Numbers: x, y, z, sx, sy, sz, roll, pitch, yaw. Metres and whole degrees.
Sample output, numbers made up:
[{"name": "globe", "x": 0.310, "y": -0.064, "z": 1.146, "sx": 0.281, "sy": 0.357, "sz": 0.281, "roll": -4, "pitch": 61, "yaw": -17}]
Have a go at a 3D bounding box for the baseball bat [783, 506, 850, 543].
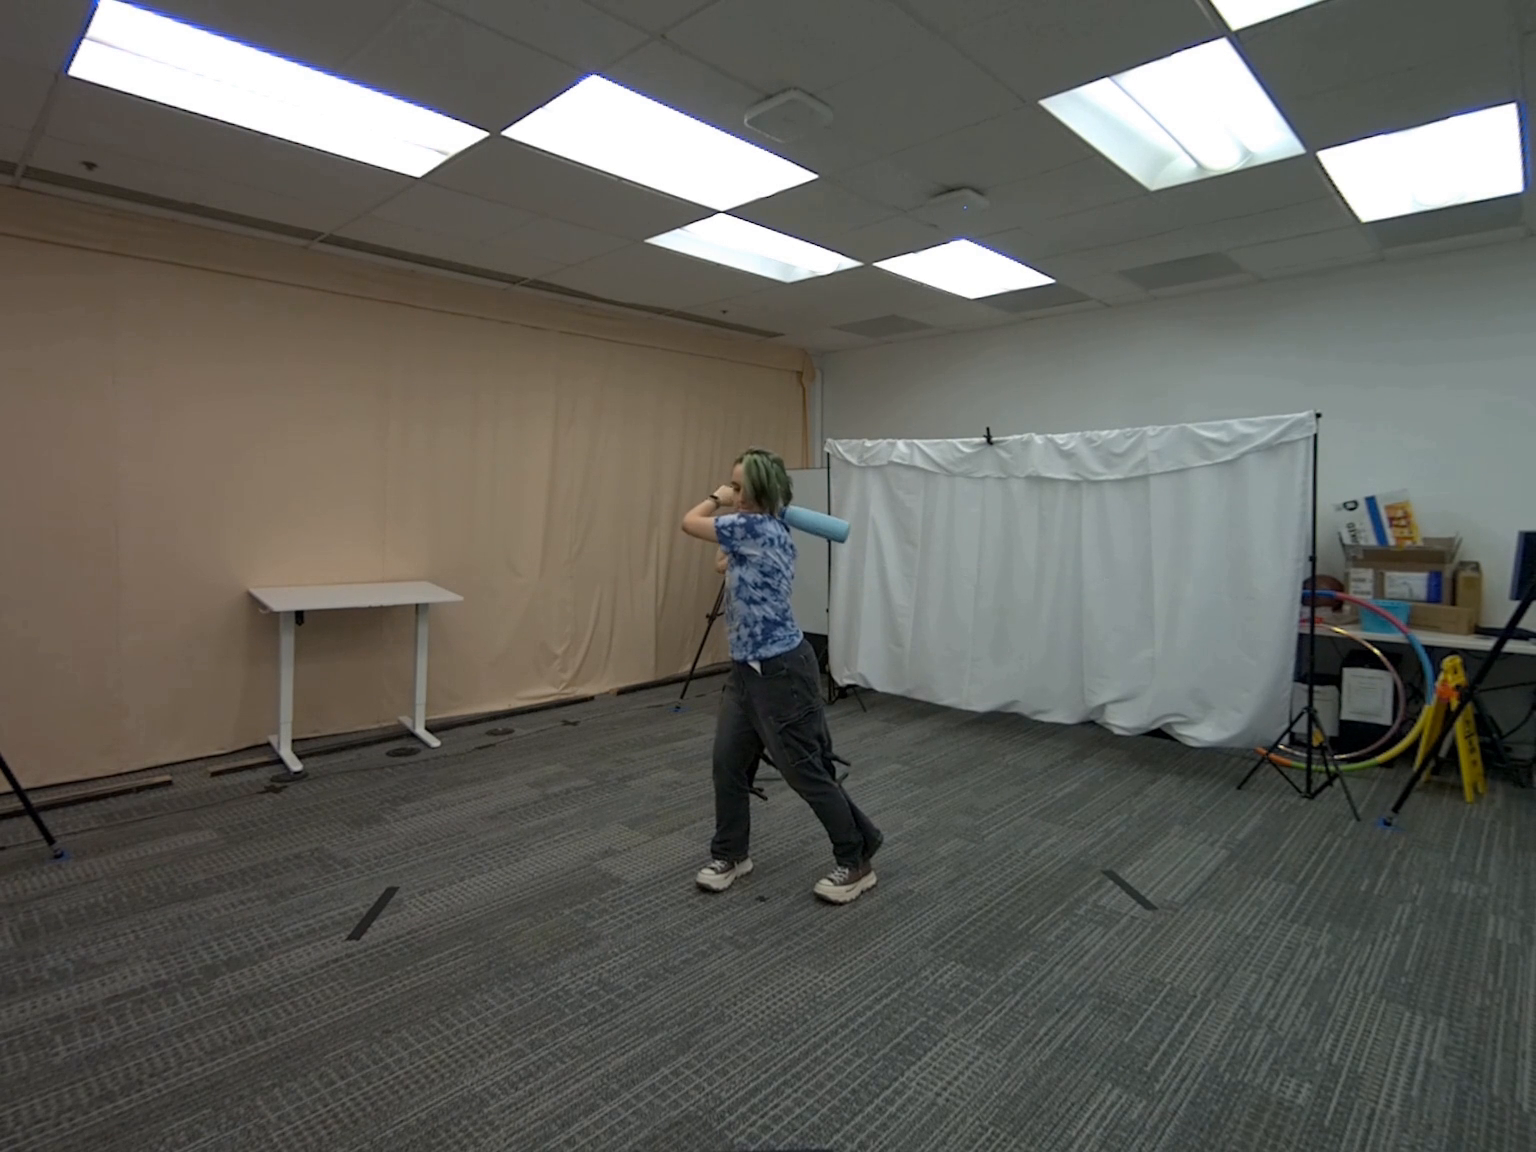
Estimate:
[{"name": "baseball bat", "x": 0.042, "y": -0.238, "z": 3.250, "sx": 0.550, "sy": 0.089, "sz": 0.088, "roll": 18, "pitch": 7, "yaw": 11}]
